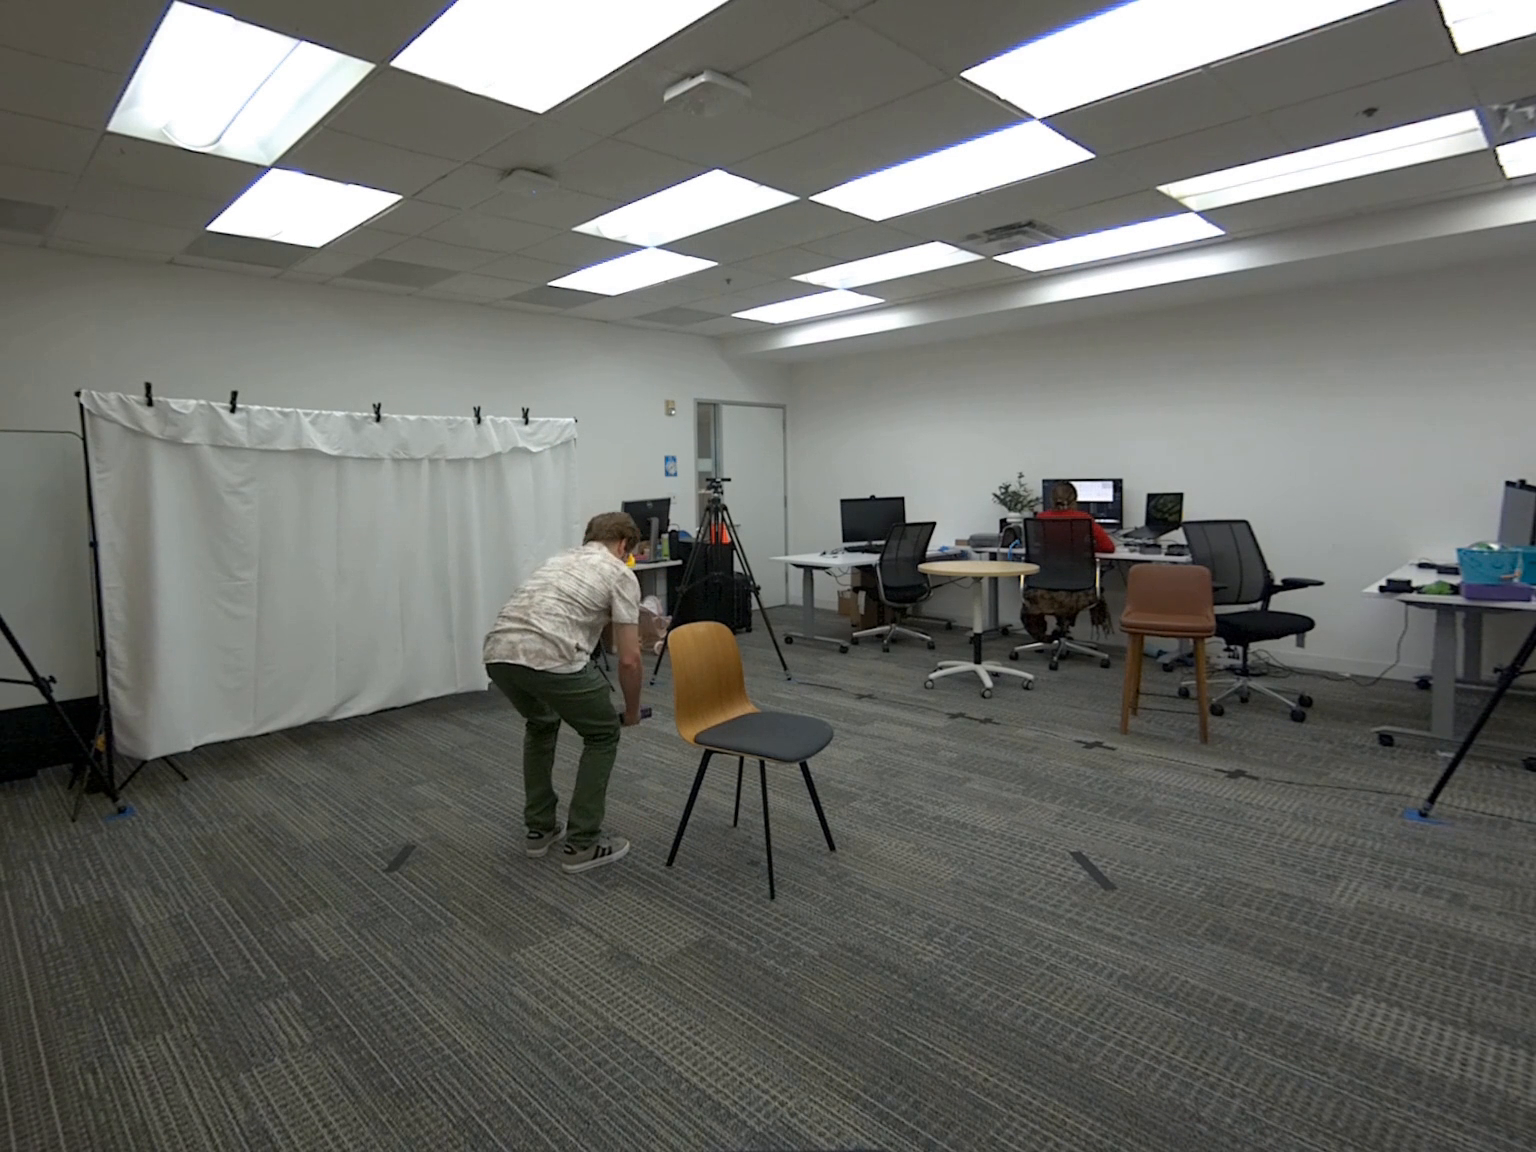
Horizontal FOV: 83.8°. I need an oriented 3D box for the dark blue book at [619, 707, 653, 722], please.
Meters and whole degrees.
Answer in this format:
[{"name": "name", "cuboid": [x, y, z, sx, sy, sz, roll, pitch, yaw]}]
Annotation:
[{"name": "dark blue book", "cuboid": [-0.606, 0.561, 3.491, 0.167, 0.045, 0.239, -2, -1, 29]}]
